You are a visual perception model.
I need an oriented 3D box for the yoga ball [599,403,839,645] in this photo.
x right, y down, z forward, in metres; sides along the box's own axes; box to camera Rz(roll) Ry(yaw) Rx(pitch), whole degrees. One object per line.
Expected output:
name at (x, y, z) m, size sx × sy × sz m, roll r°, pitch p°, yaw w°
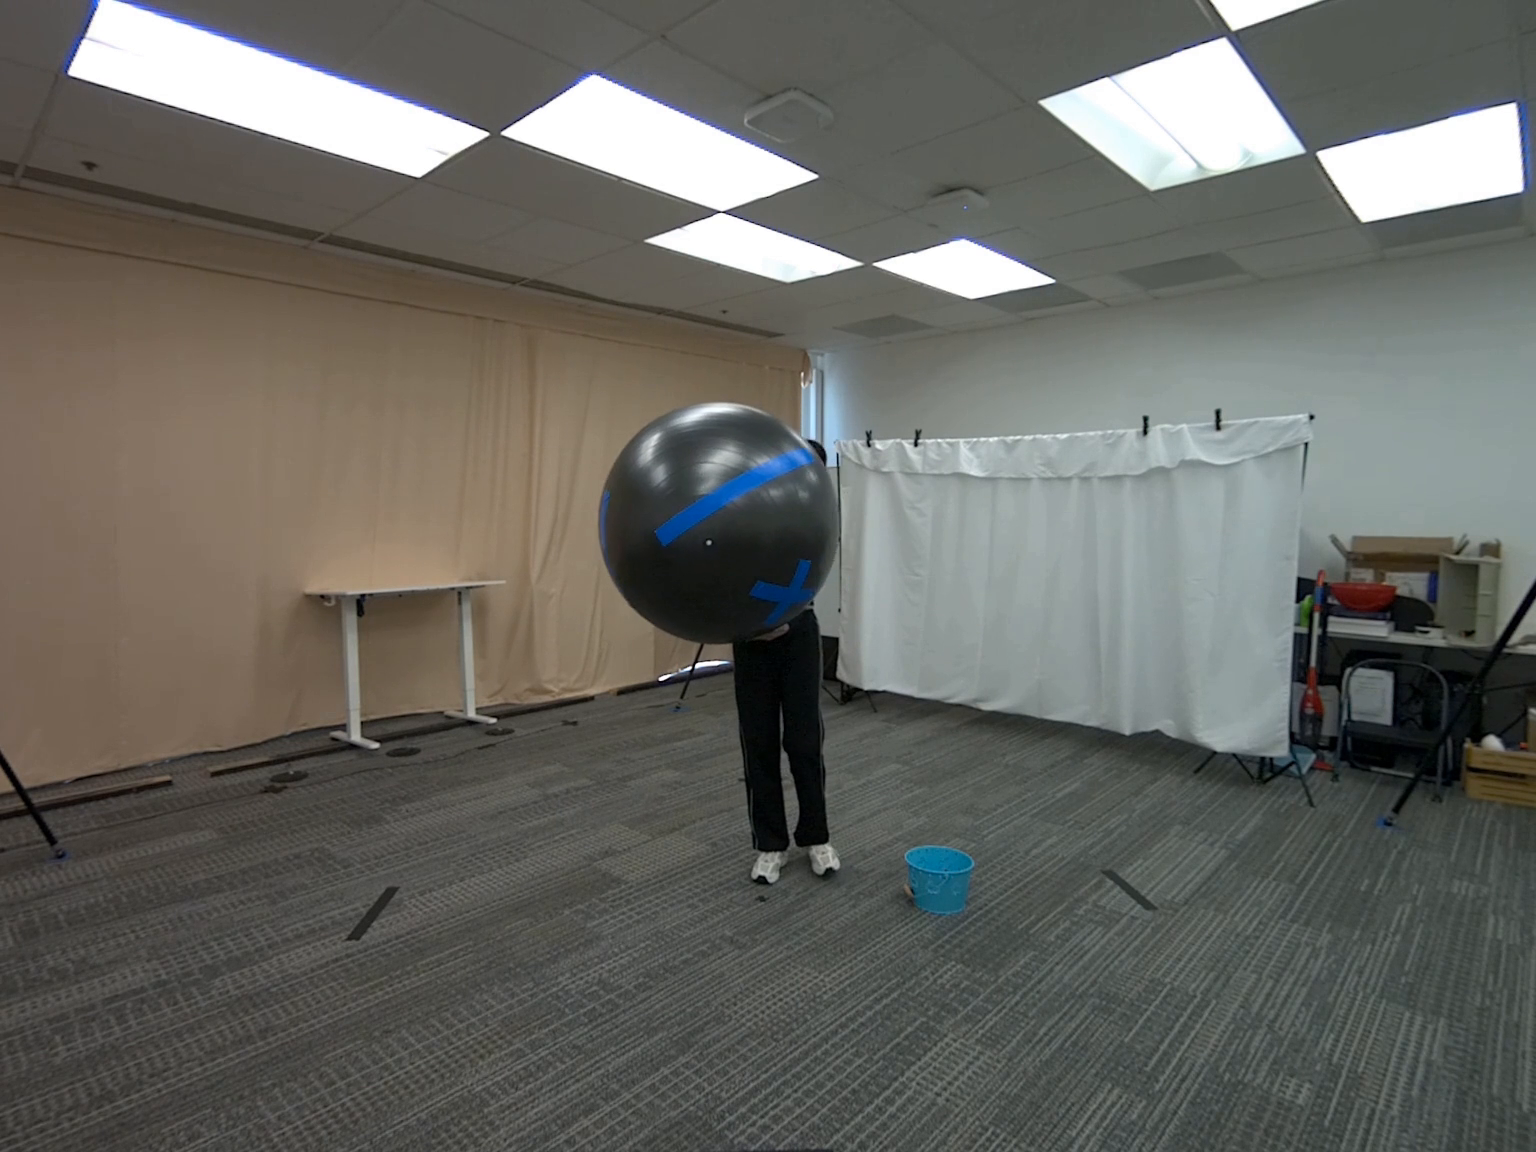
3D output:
yoga ball at (-0.154, -0.160, 2.654) m, size 0.757 × 0.756 × 0.760 m, roll 0°, pitch 4°, yaw -2°
